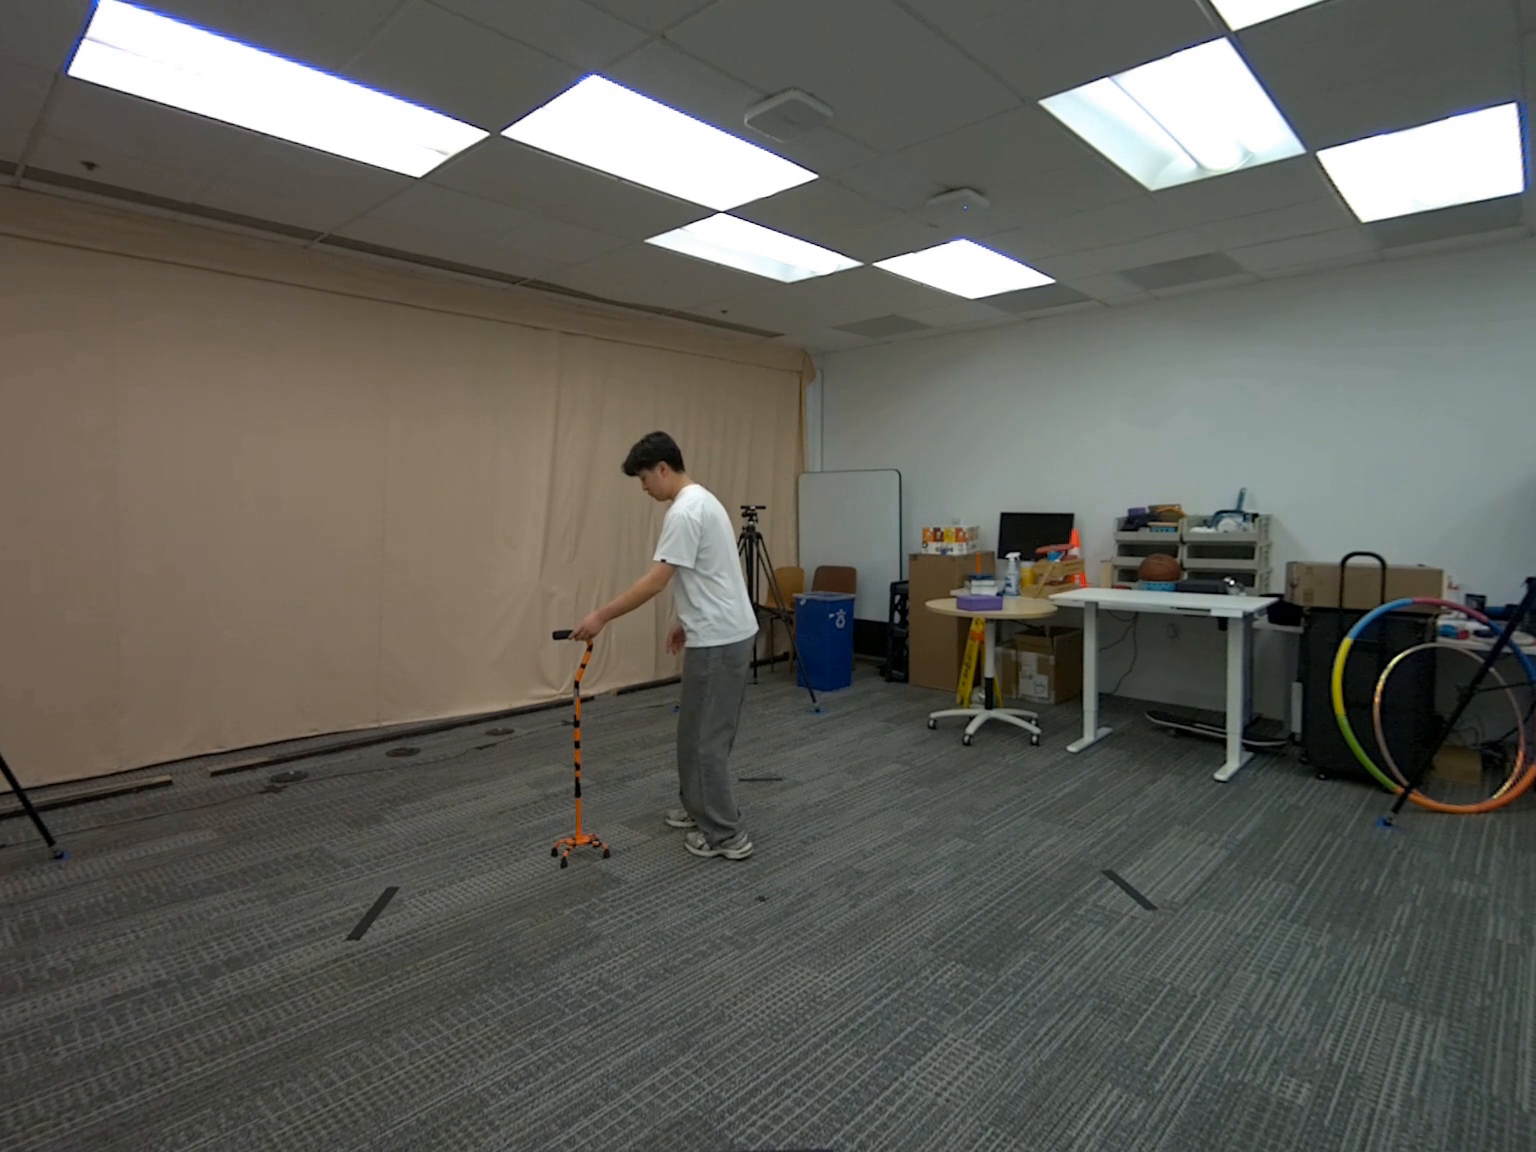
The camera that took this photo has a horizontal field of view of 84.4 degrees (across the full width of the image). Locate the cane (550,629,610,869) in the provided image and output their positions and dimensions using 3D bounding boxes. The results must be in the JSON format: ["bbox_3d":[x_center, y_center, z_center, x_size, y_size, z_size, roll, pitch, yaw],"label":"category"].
[{"bbox_3d":[-0.742,0.673,3.334,0.201,0.906,0.156,-1,4,-30],"label":"cane"}]
